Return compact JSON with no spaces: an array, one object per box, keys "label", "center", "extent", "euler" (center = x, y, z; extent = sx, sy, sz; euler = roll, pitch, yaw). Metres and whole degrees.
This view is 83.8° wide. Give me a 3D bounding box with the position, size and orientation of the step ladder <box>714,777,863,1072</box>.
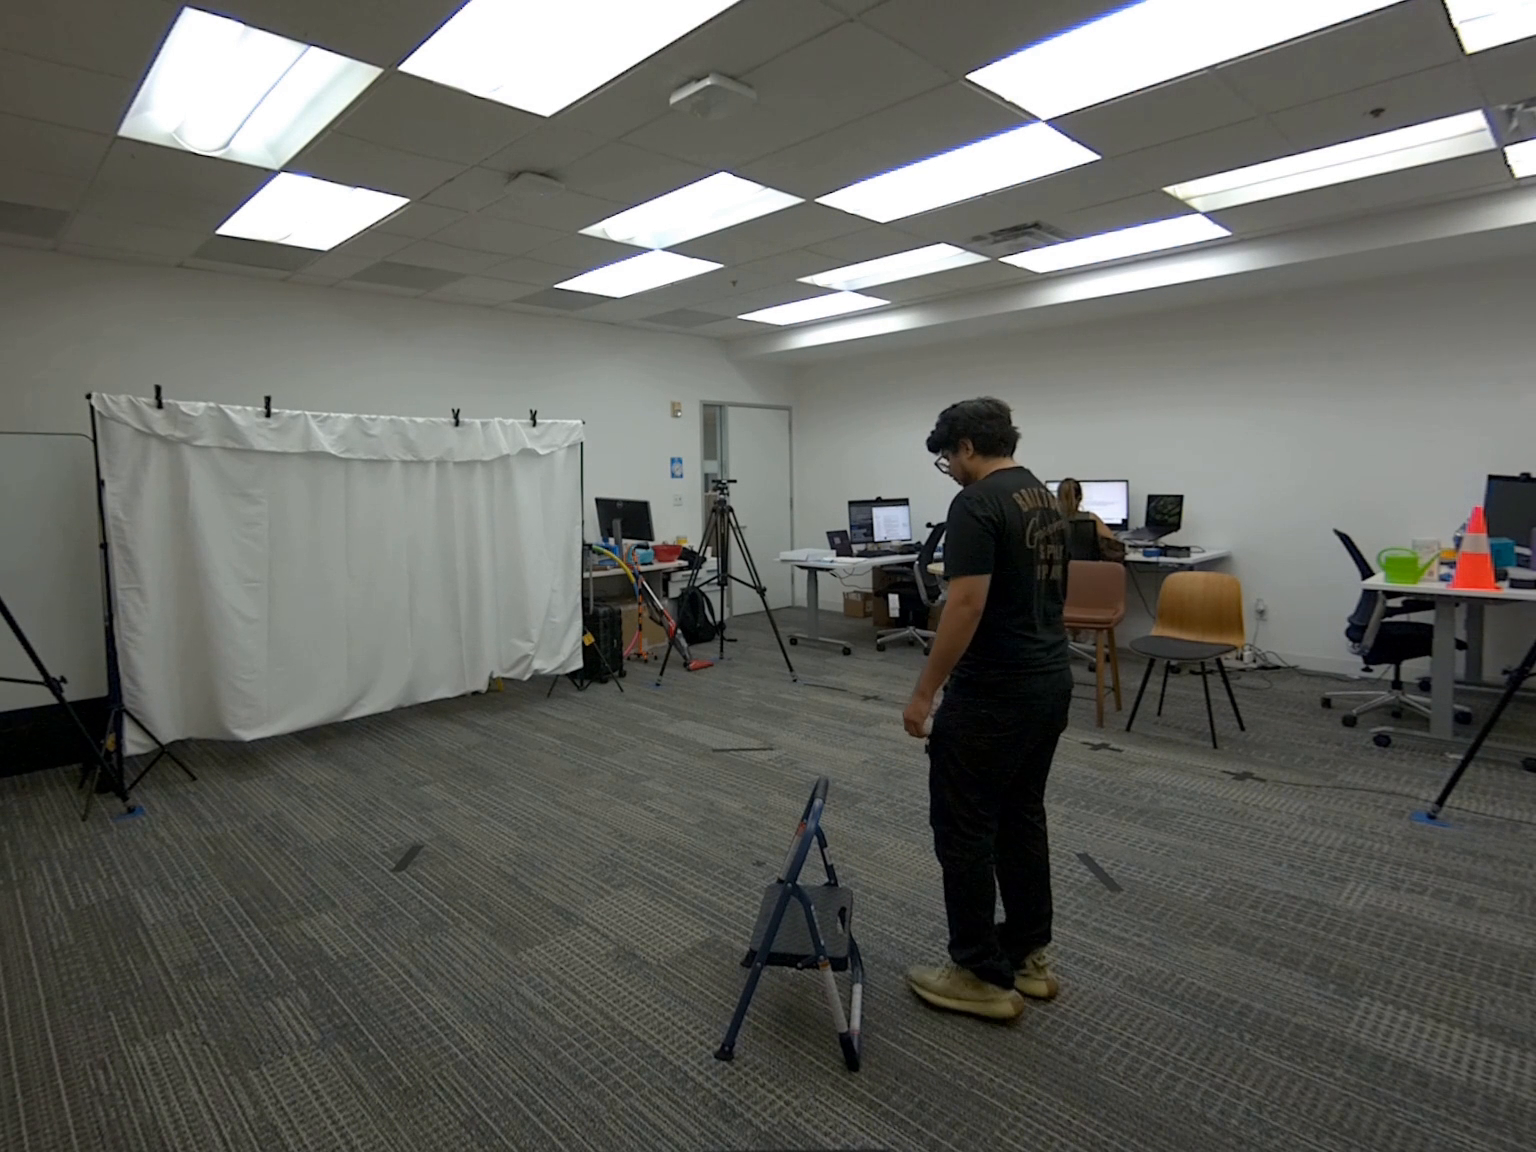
[{"label":"step ladder","center":[0.081,0.849,2.216],"extent":[0.353,0.604,0.428],"euler":[0,5,9]}]
